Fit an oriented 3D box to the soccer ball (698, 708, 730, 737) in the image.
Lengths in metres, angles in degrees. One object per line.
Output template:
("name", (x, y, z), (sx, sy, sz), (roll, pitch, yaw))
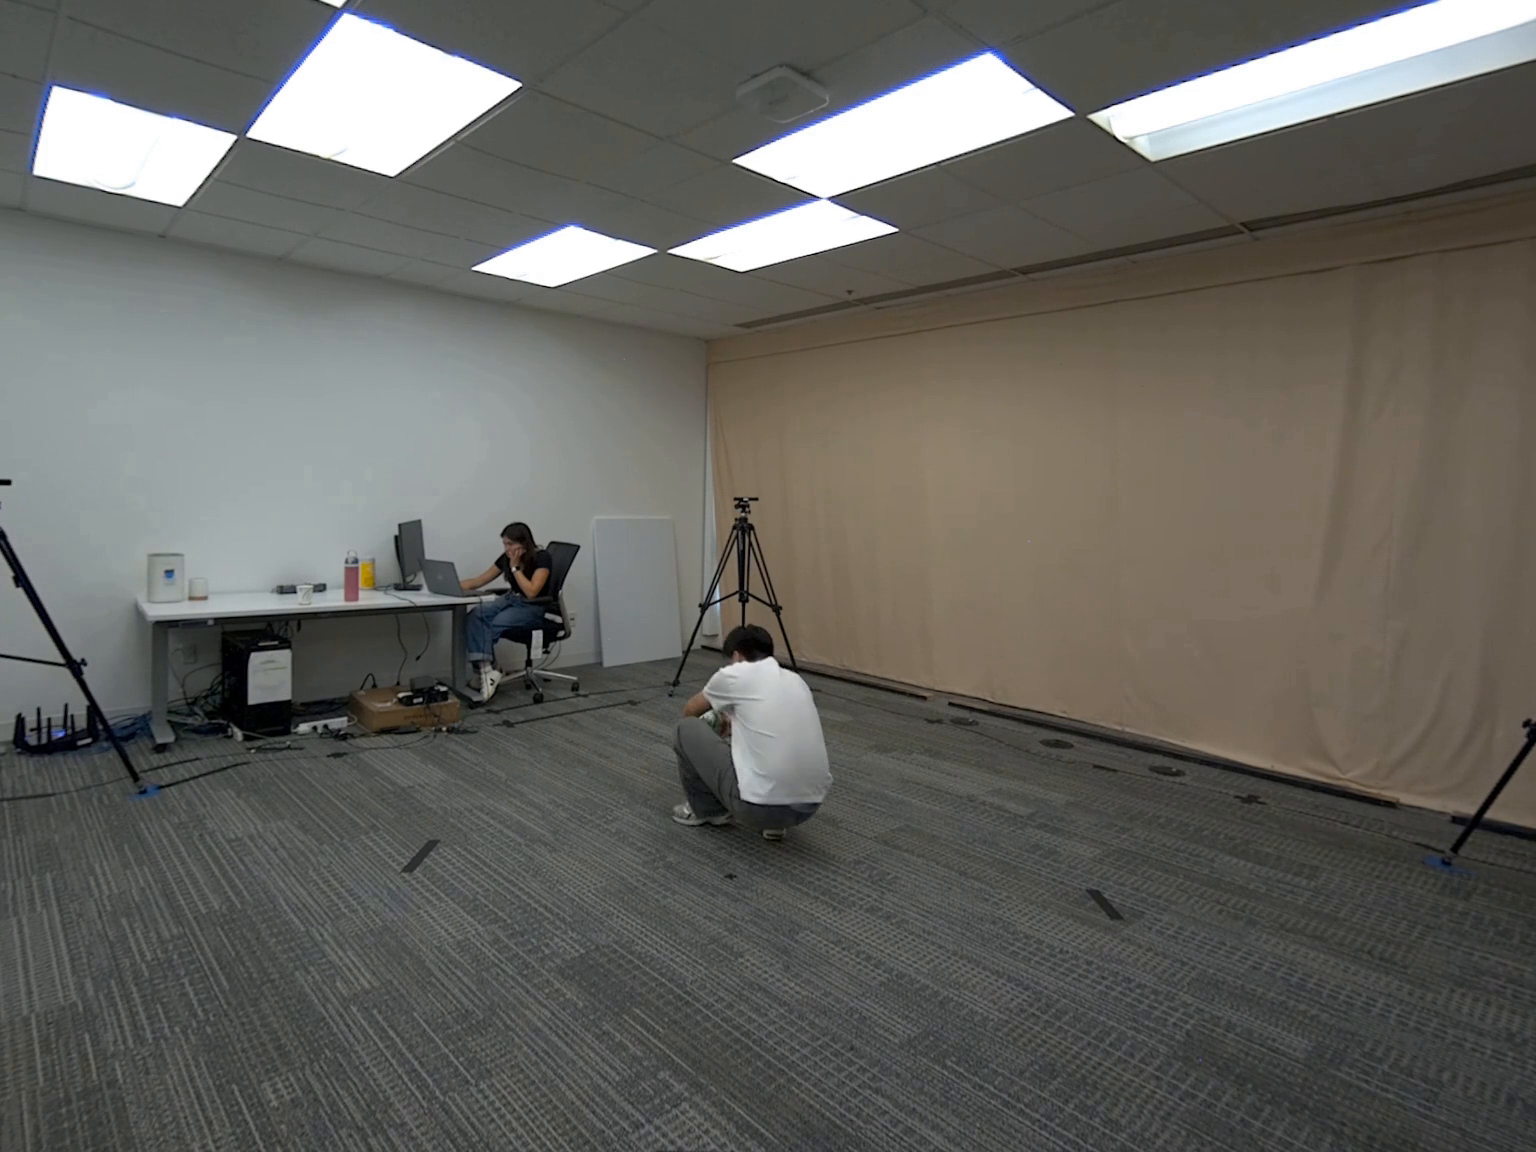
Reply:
("soccer ball", (-0.291, 0.695, 3.979), (0.187, 0.187, 0.188), (1, 4, -1))
